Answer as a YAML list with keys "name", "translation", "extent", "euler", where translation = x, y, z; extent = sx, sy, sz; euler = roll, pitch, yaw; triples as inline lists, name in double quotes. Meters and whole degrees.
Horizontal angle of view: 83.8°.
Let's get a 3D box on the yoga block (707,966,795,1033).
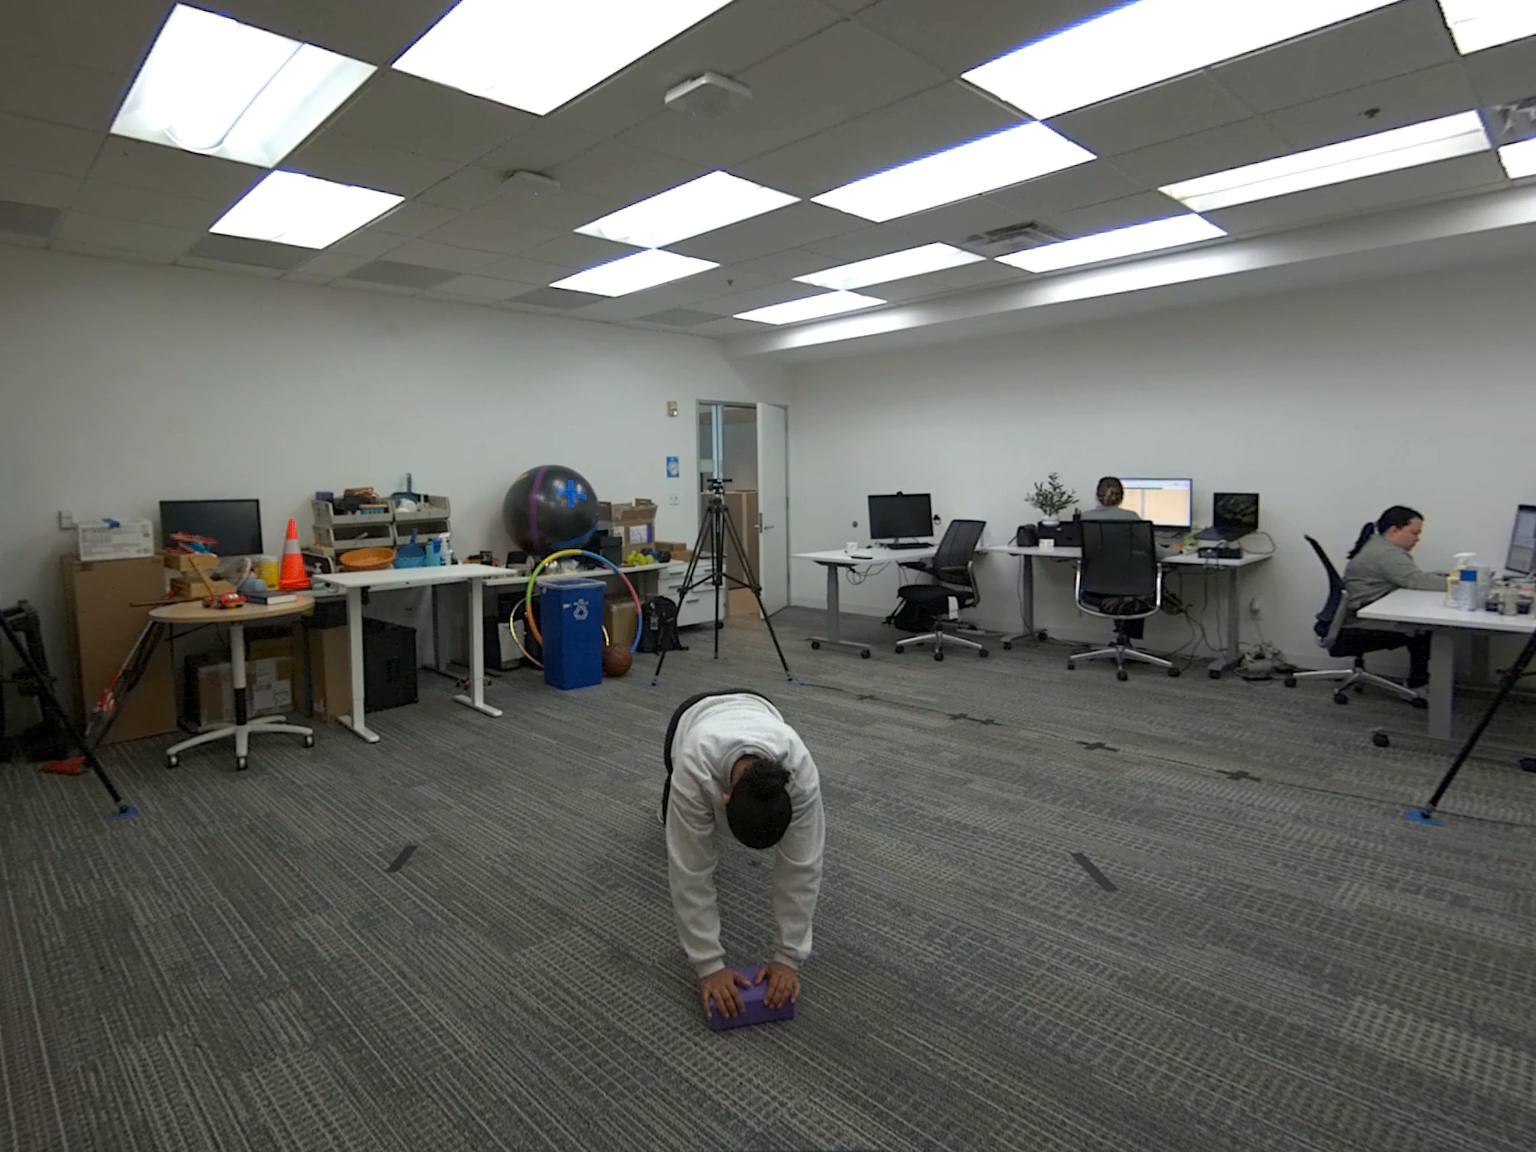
- name: "yoga block"
  translation: [-0.047, 1.121, 2.254]
  extent: [0.227, 0.076, 0.151]
  euler: [-2, 5, -12]
